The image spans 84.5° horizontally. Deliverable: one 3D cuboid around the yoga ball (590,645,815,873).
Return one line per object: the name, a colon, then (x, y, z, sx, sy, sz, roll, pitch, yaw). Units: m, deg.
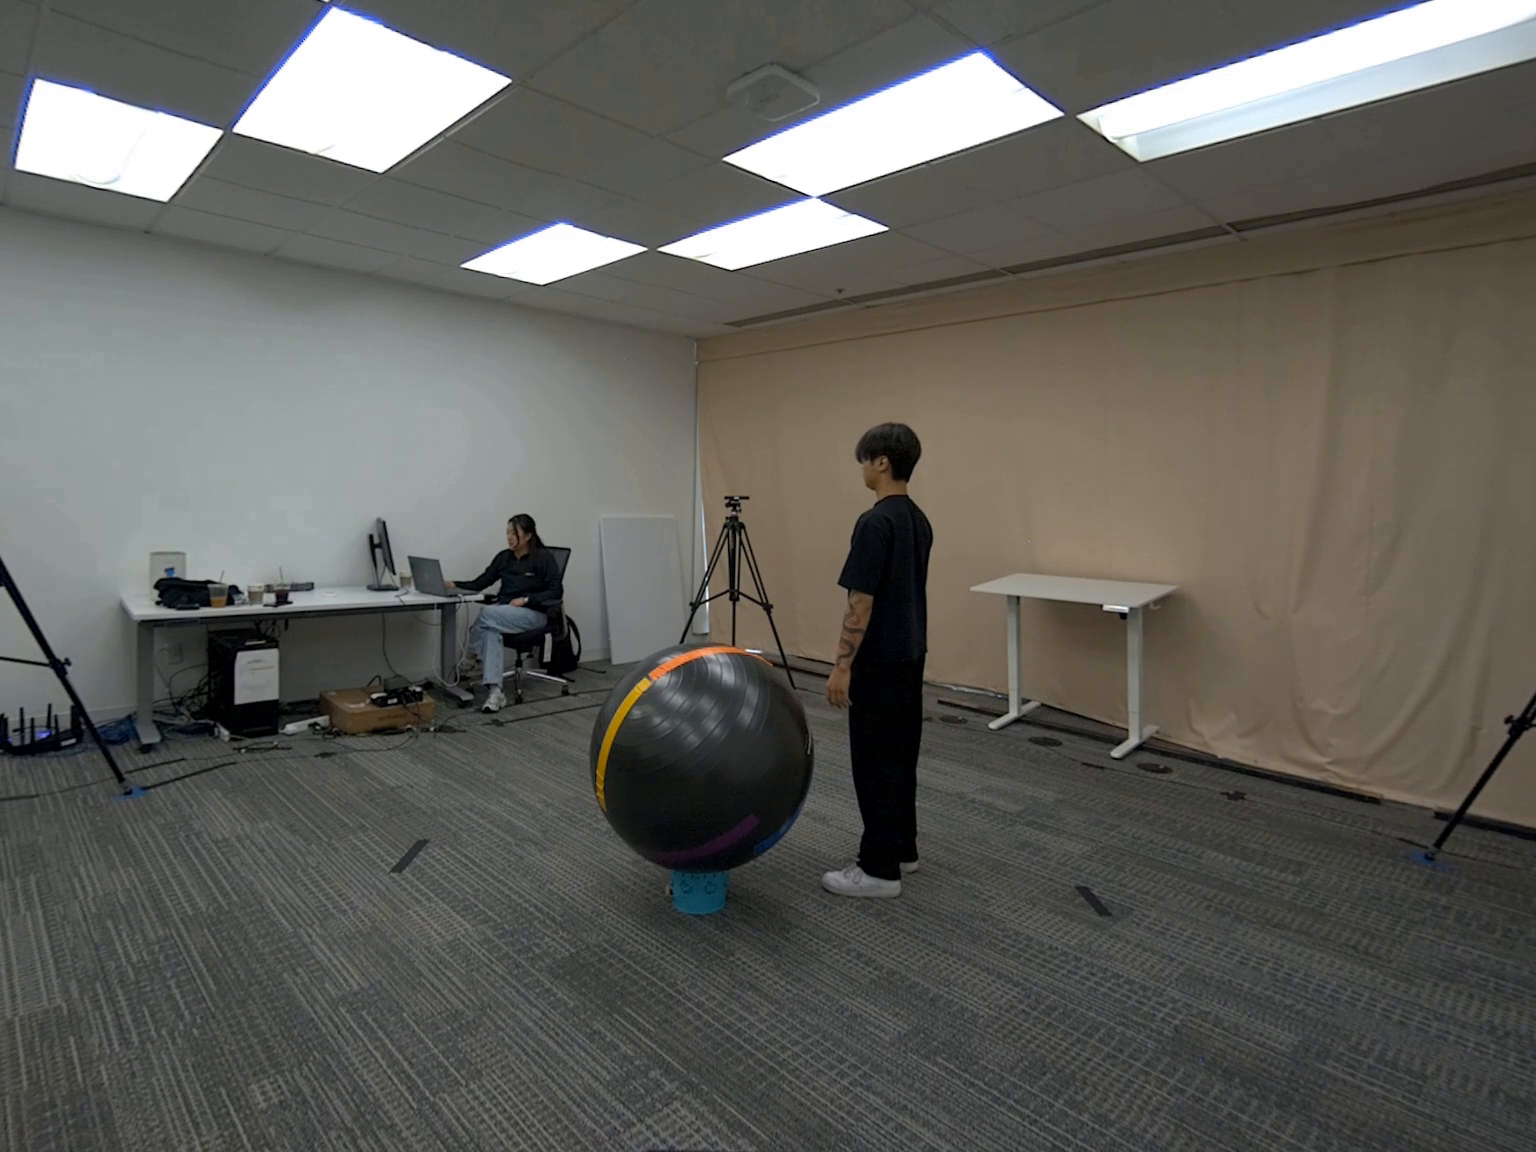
yoga ball: (-0.227, 0.610, 2.864, 0.757, 0.756, 0.761, 1, 4, -1)
